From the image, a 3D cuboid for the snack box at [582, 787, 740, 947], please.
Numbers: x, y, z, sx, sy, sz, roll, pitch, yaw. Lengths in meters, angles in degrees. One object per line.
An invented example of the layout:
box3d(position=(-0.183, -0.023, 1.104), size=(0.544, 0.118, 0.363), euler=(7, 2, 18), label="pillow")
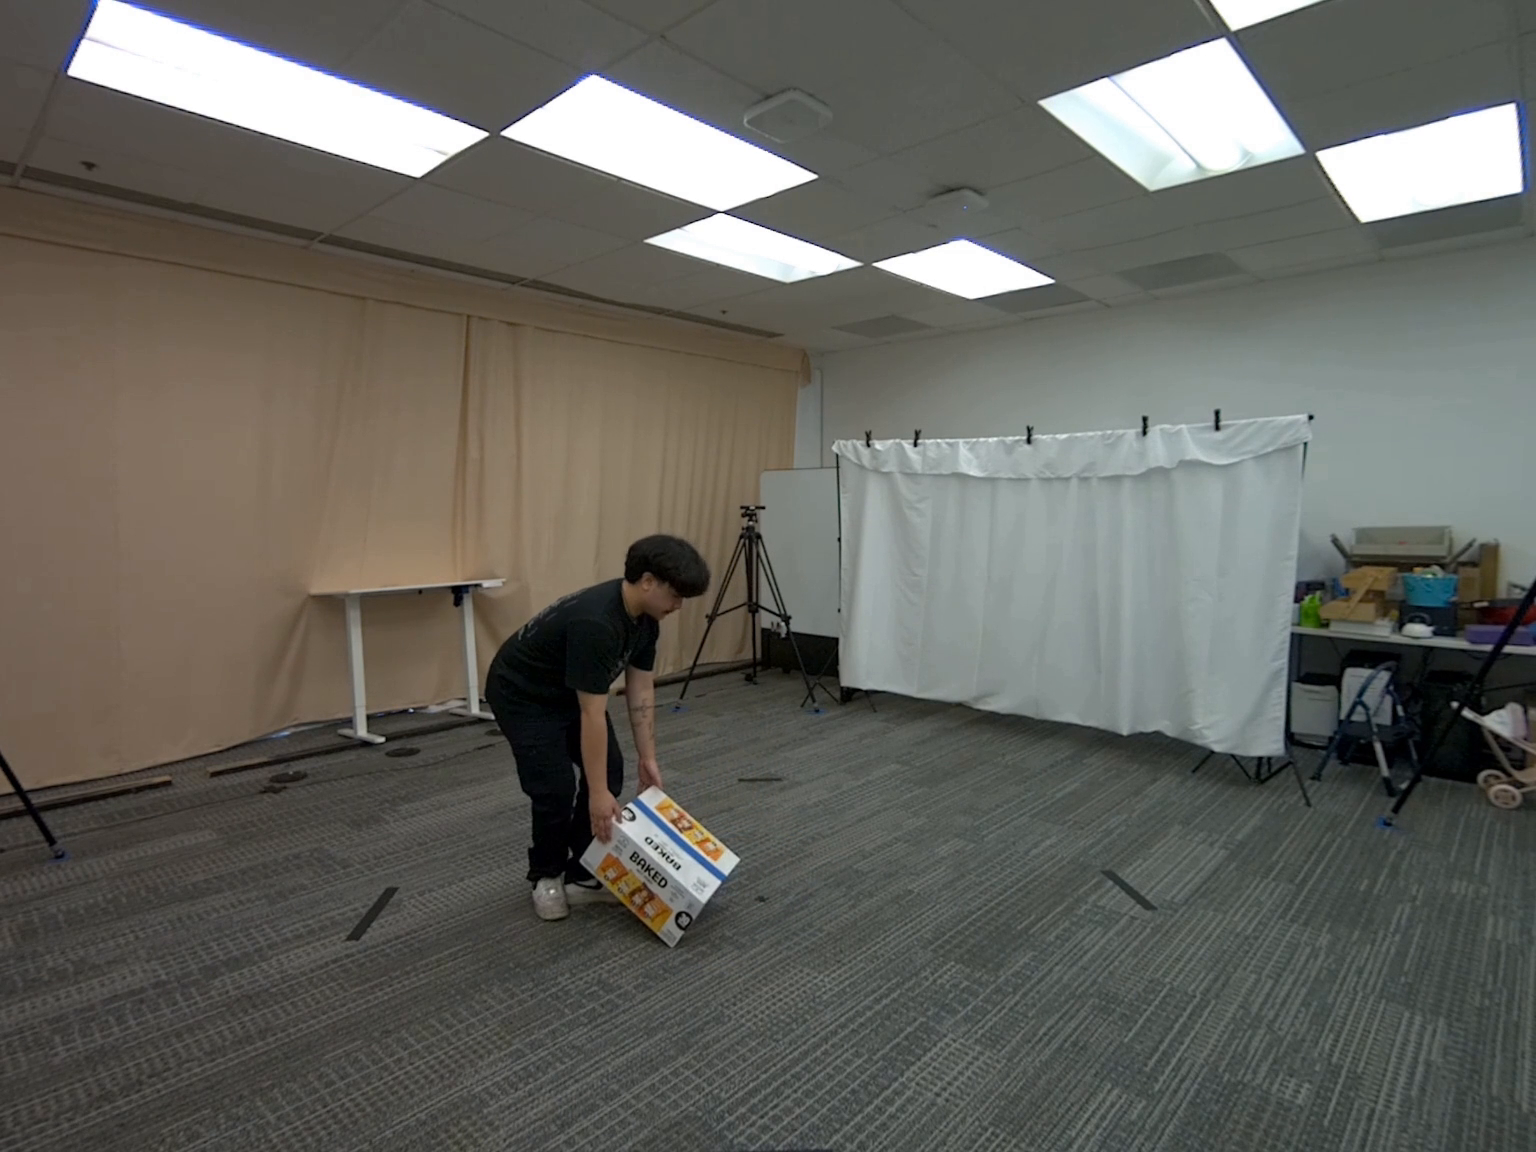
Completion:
box3d(position=(-0.351, 0.965, 2.825), size=(0.412, 0.206, 0.334), euler=(36, 14, 13), label="snack box")
